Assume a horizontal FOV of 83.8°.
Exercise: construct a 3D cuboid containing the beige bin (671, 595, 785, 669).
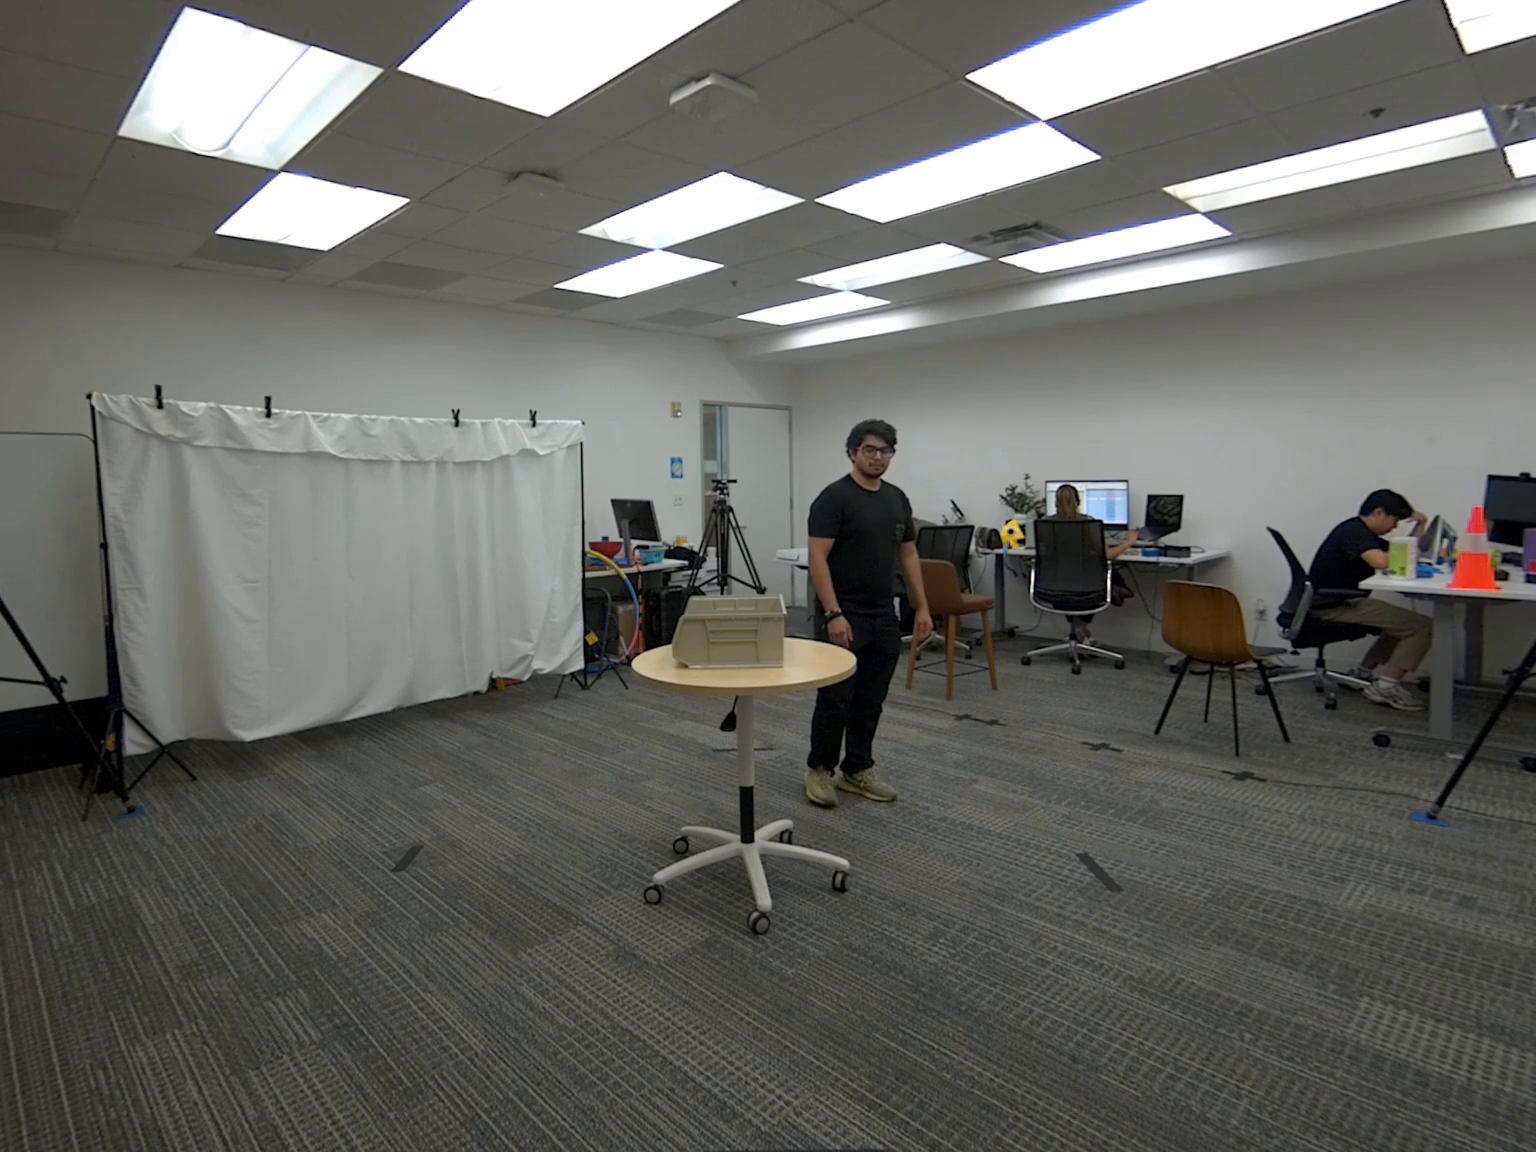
[{"bbox_3d":[-0.137,0.192,2.989,0.377,0.188,0.425,-1,6,-2],"label":"beige bin"}]
